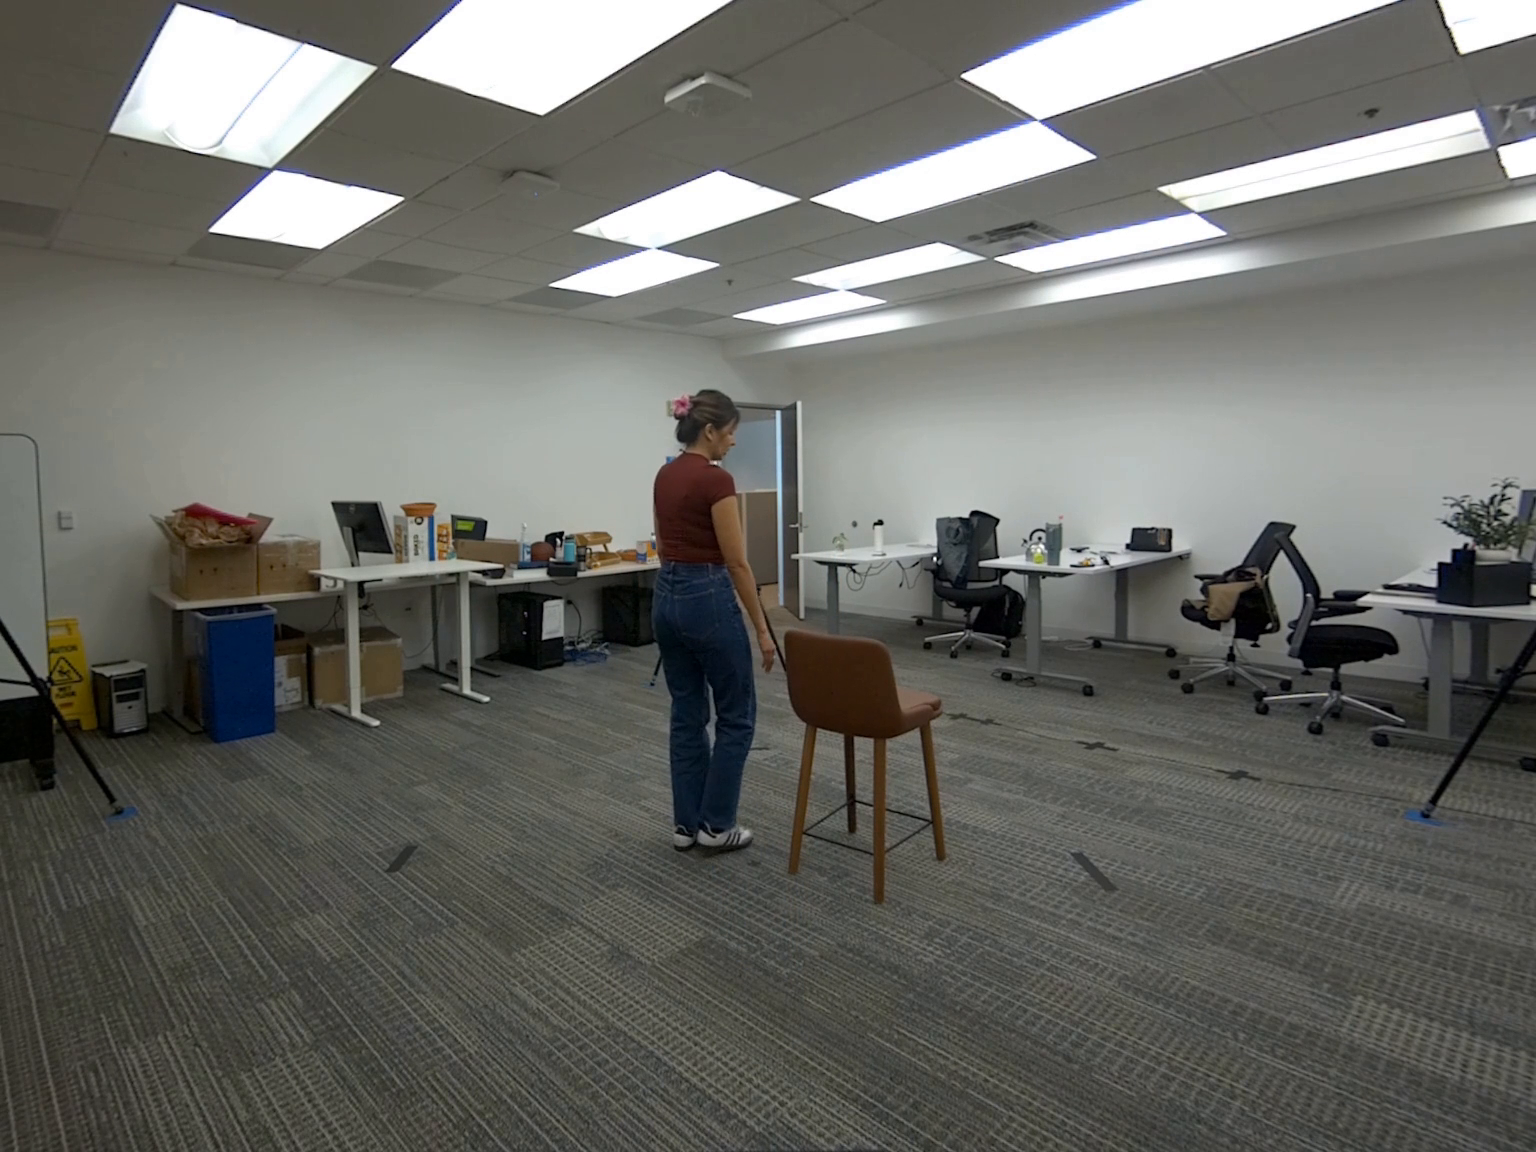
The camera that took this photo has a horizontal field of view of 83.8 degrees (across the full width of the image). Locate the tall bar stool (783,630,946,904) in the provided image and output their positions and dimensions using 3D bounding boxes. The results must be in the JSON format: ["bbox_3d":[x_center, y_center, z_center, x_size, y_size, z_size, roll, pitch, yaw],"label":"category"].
[{"bbox_3d":[0.350,0.614,3.044,0.470,0.886,0.456,2,6,40],"label":"tall bar stool"}]
